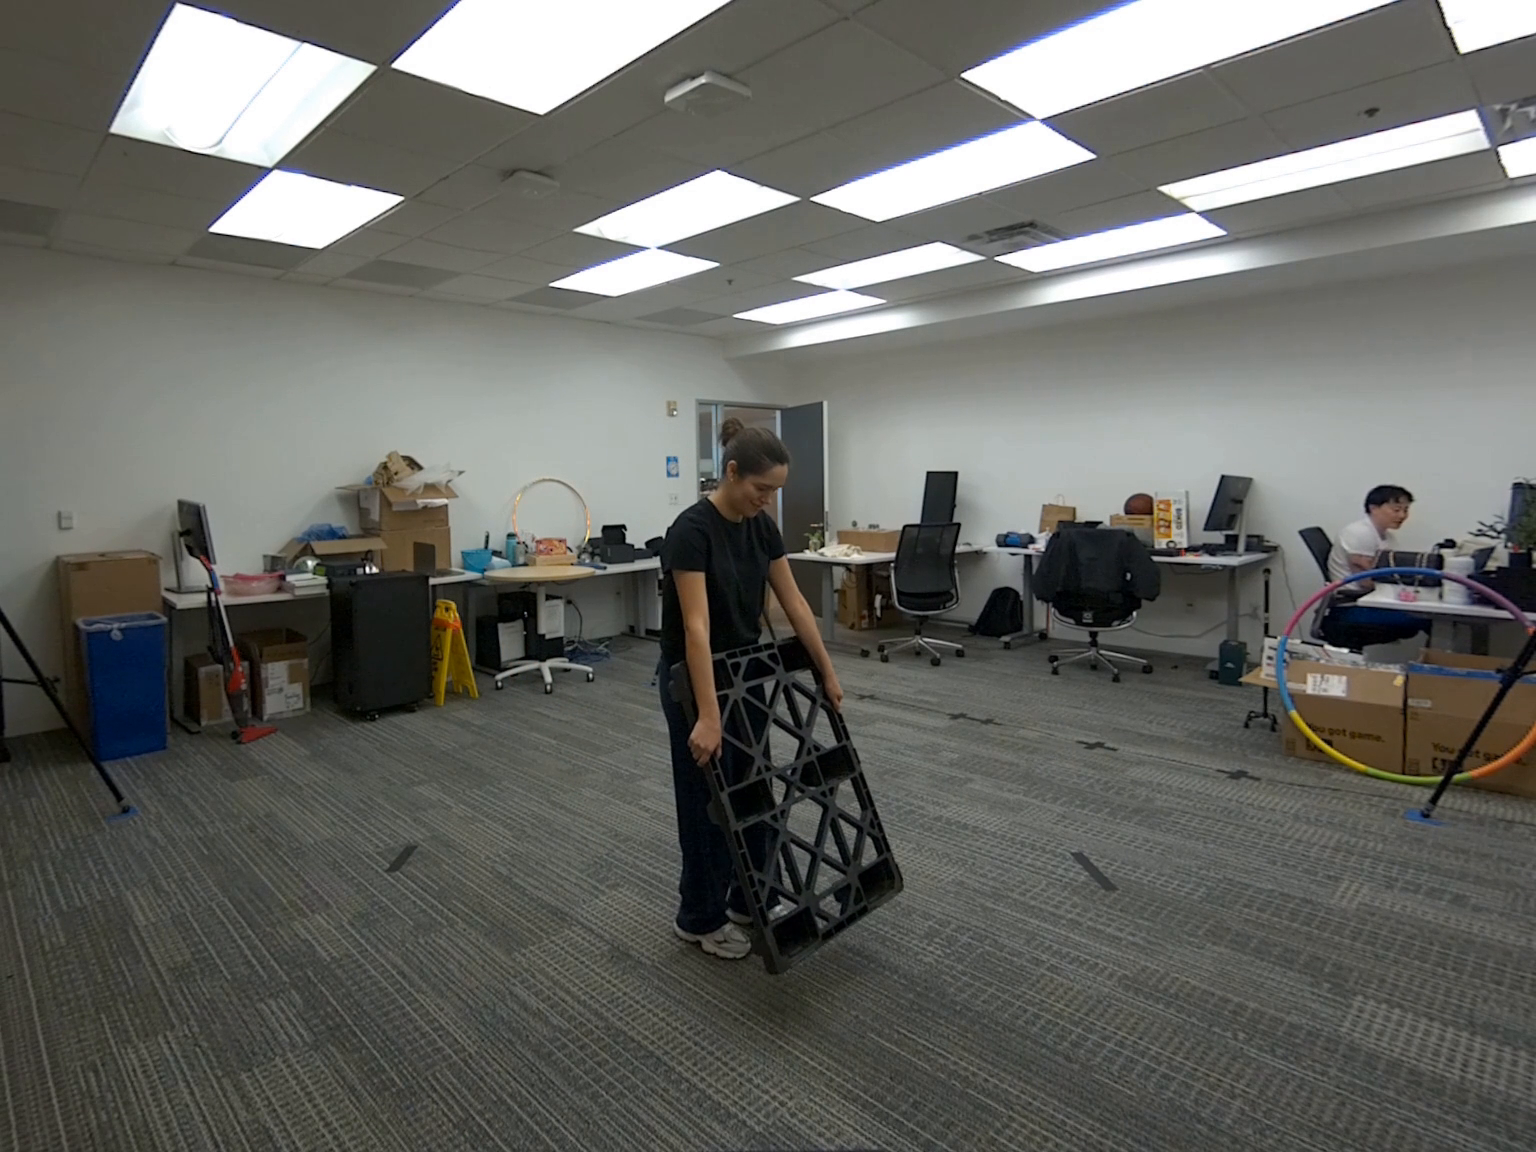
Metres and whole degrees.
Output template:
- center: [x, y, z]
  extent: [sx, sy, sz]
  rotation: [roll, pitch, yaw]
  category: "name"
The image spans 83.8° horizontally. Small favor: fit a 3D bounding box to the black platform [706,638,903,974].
- center: [0.047, 0.596, 2.434]
  extent: [0.145, 0.818, 0.589]
  rotation: [-30, -16, 38]
  category: "black platform"
